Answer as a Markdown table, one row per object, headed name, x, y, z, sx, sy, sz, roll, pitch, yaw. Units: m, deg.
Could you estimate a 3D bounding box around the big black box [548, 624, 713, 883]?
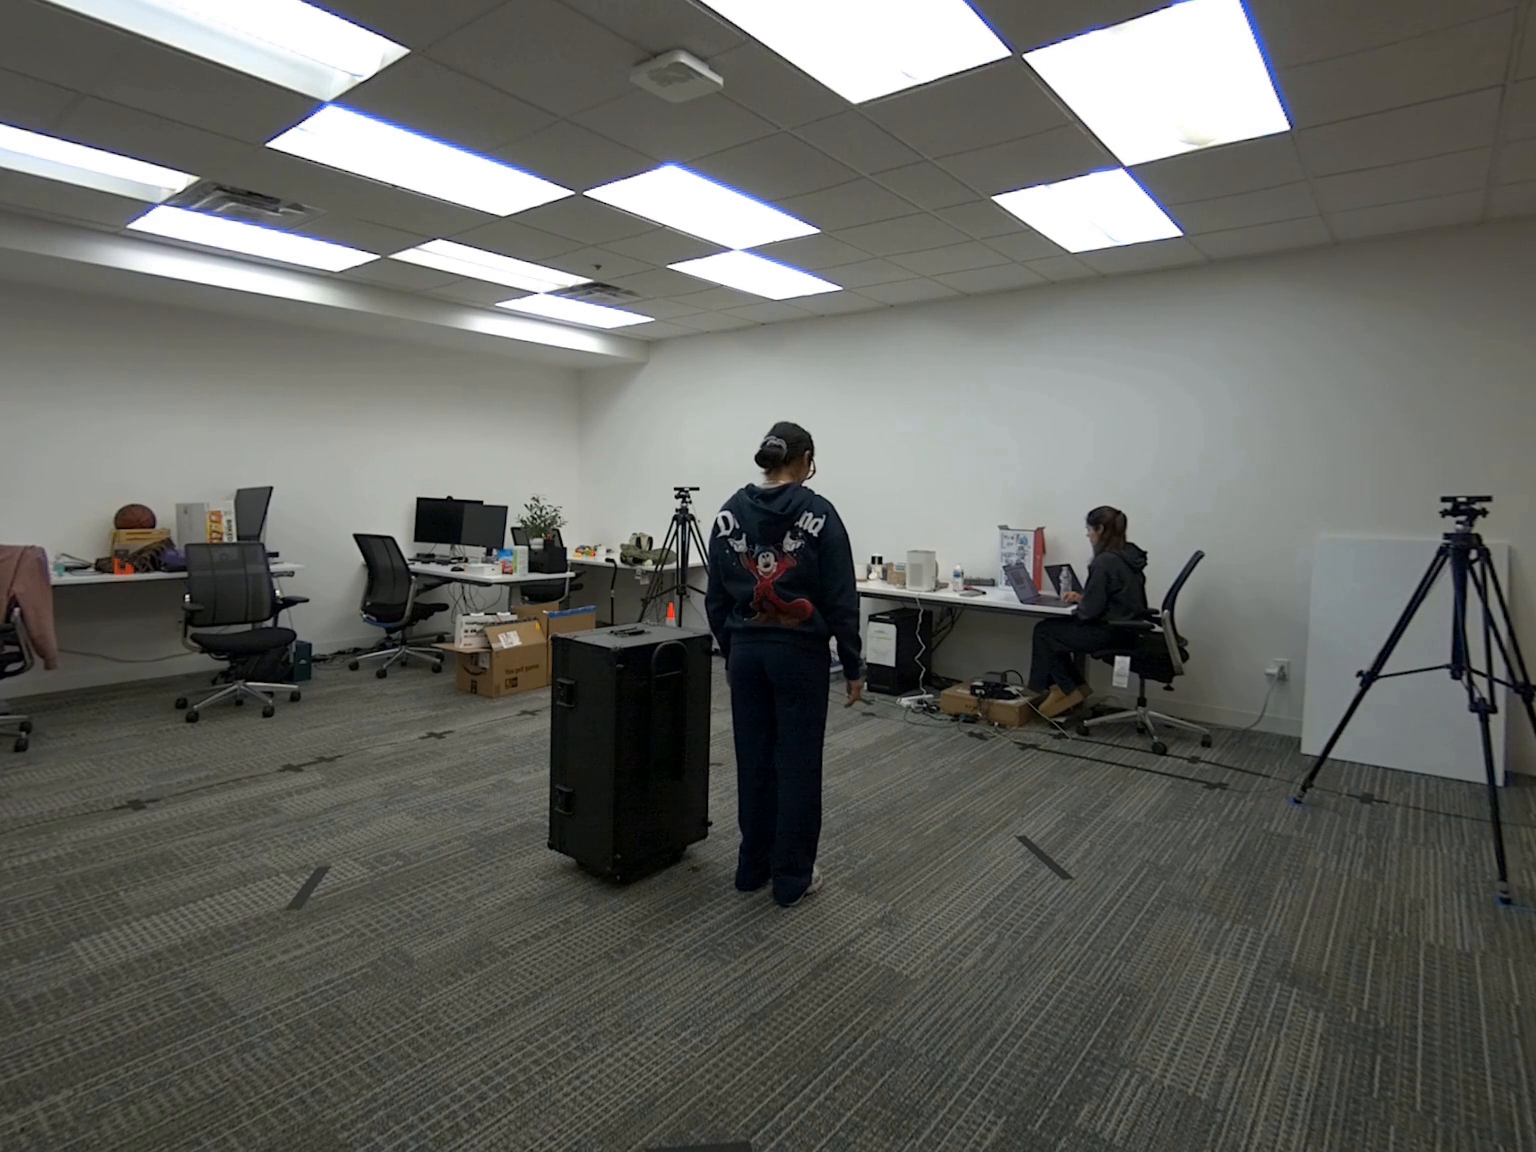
| name | x | y | z | sx | sy | sz | roll | pitch | yaw |
| --- | --- | --- | --- | --- | --- | --- | --- | --- | --- |
| big black box | -0.506 | 0.637 | 3.138 | 0.410 | 0.858 | 0.506 | 5 | 5 | 39 |
